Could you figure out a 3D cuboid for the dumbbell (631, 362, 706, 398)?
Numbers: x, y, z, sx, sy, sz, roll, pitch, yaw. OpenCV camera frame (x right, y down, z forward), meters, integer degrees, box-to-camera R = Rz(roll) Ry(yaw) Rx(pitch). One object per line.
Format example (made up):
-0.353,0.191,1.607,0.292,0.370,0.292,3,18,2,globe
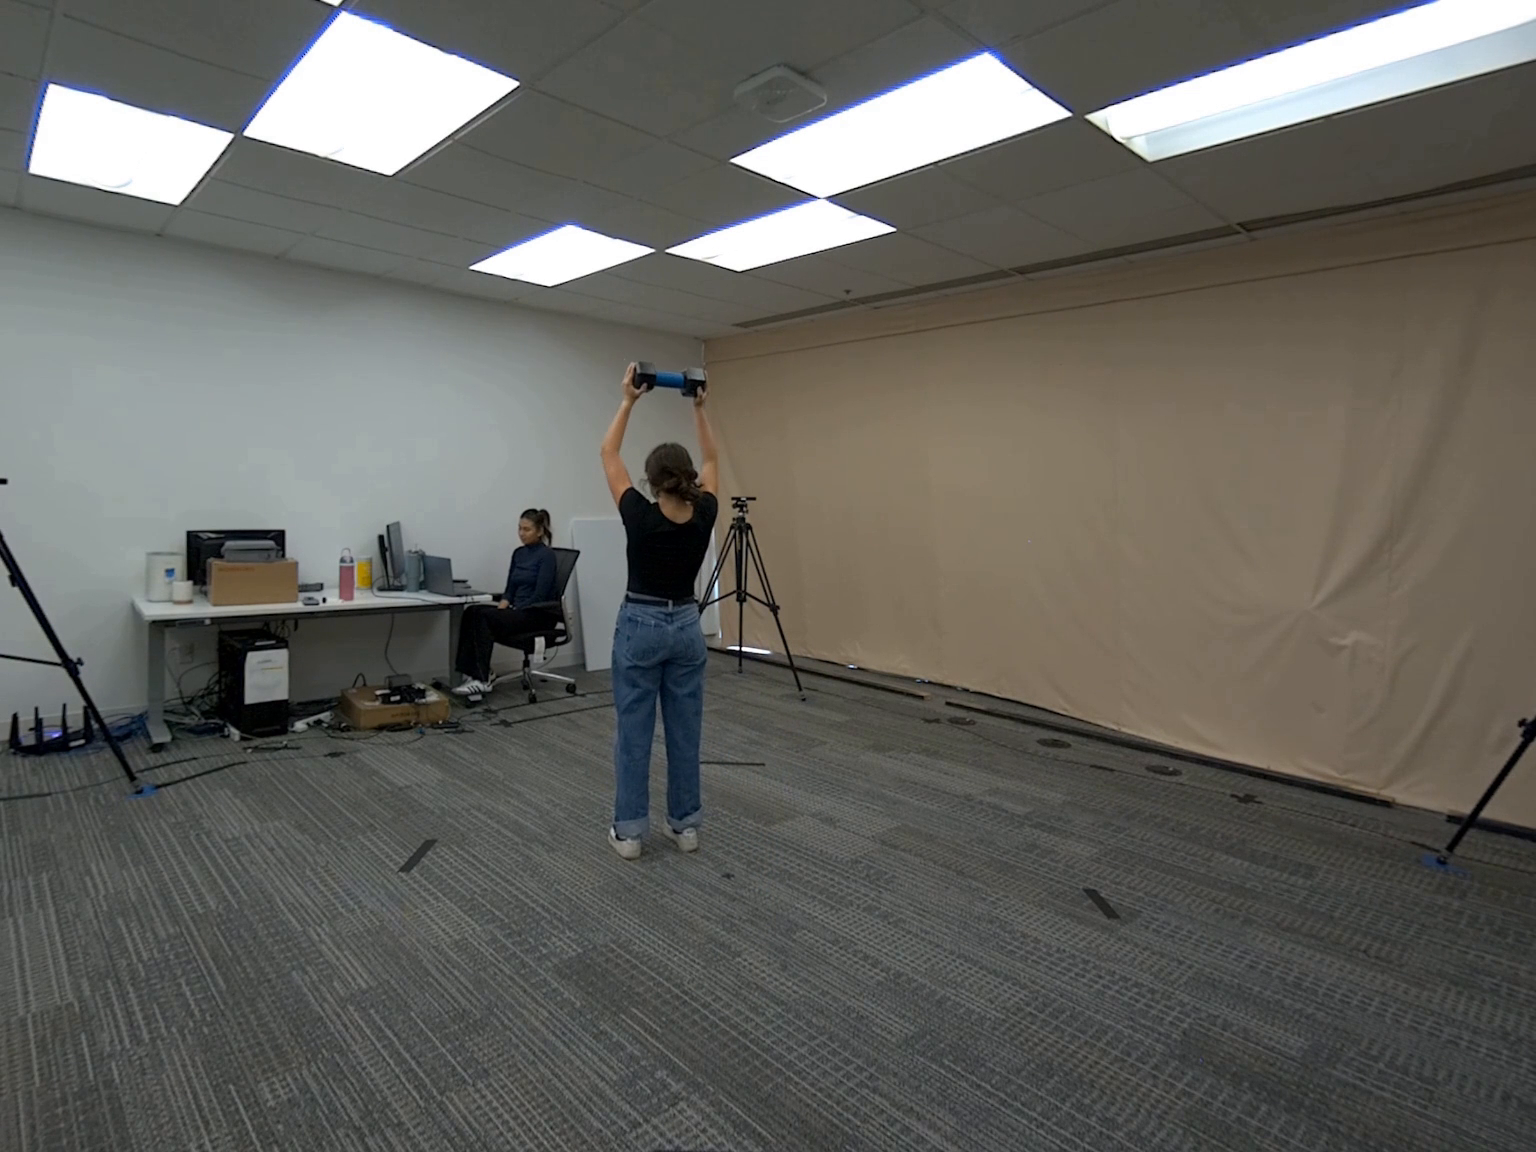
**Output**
-0.410,-0.781,3.361,0.288,0.126,0.108,1,-33,-27,dumbbell
